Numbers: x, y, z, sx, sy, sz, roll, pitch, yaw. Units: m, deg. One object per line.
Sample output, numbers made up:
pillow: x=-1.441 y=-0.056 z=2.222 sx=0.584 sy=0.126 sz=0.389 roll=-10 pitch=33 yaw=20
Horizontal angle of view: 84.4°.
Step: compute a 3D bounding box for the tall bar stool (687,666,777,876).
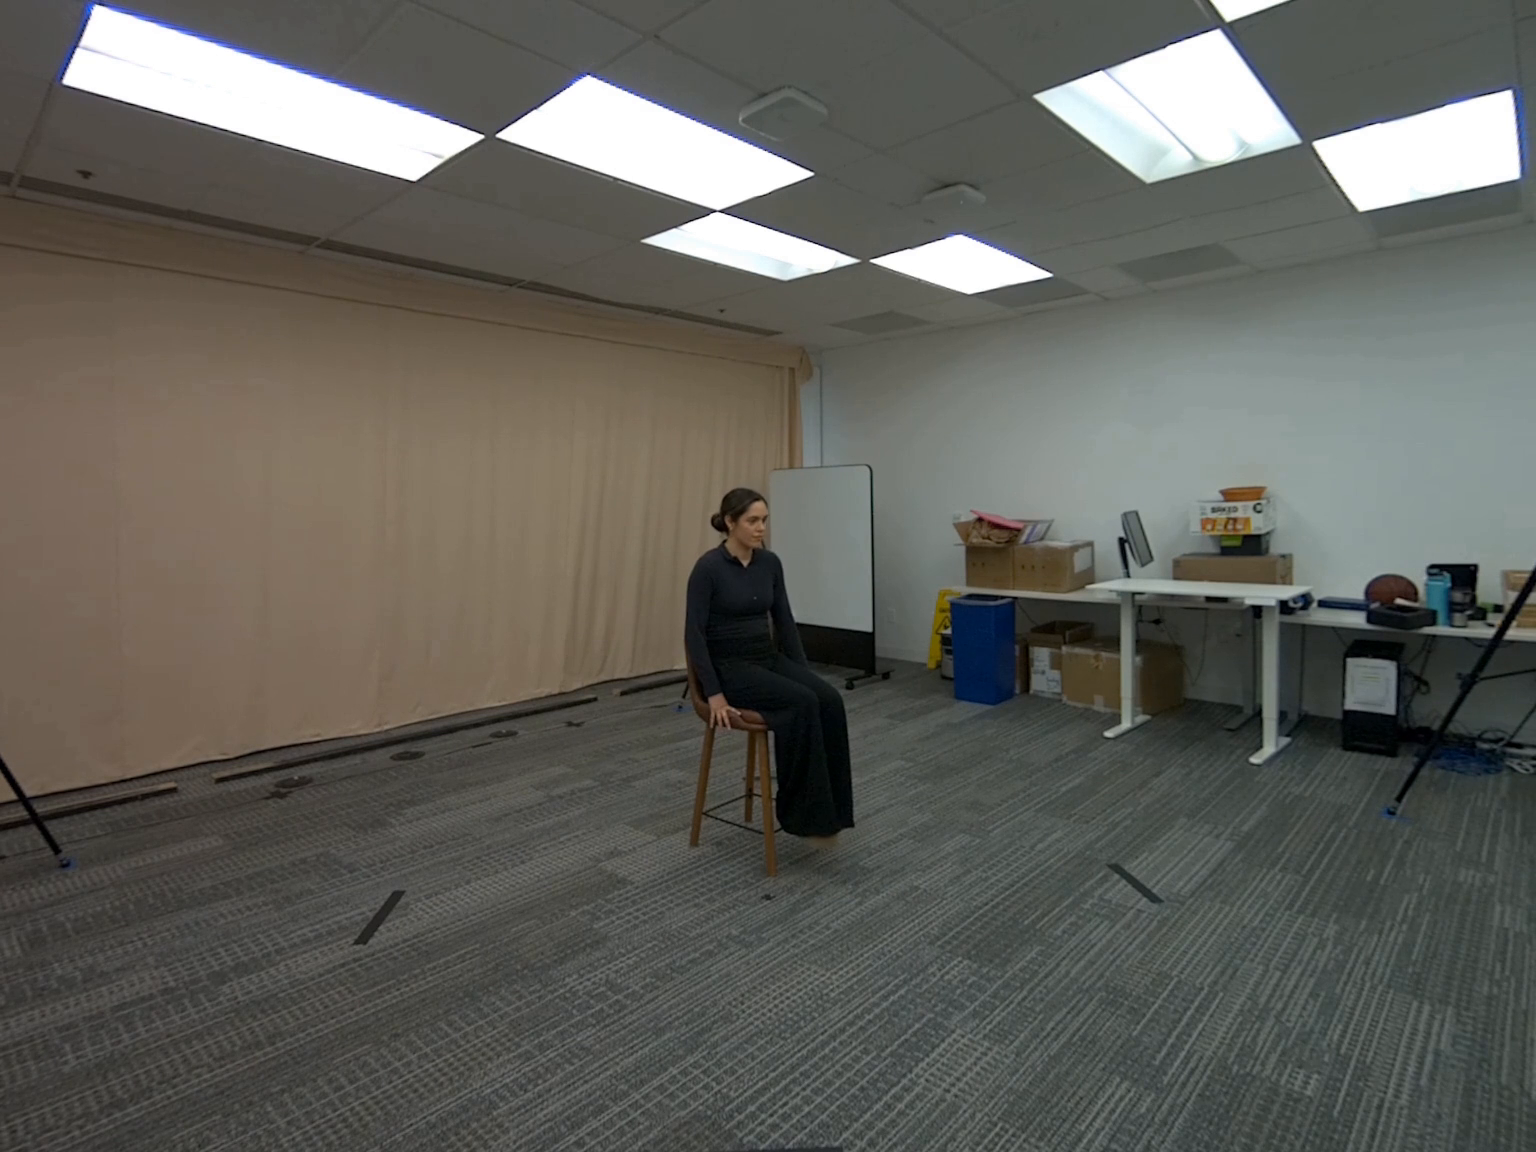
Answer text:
tall bar stool: x=-0.046 y=0.667 z=3.433 sx=0.482 sy=0.889 sz=0.443 roll=-1 pitch=2 yaw=41
